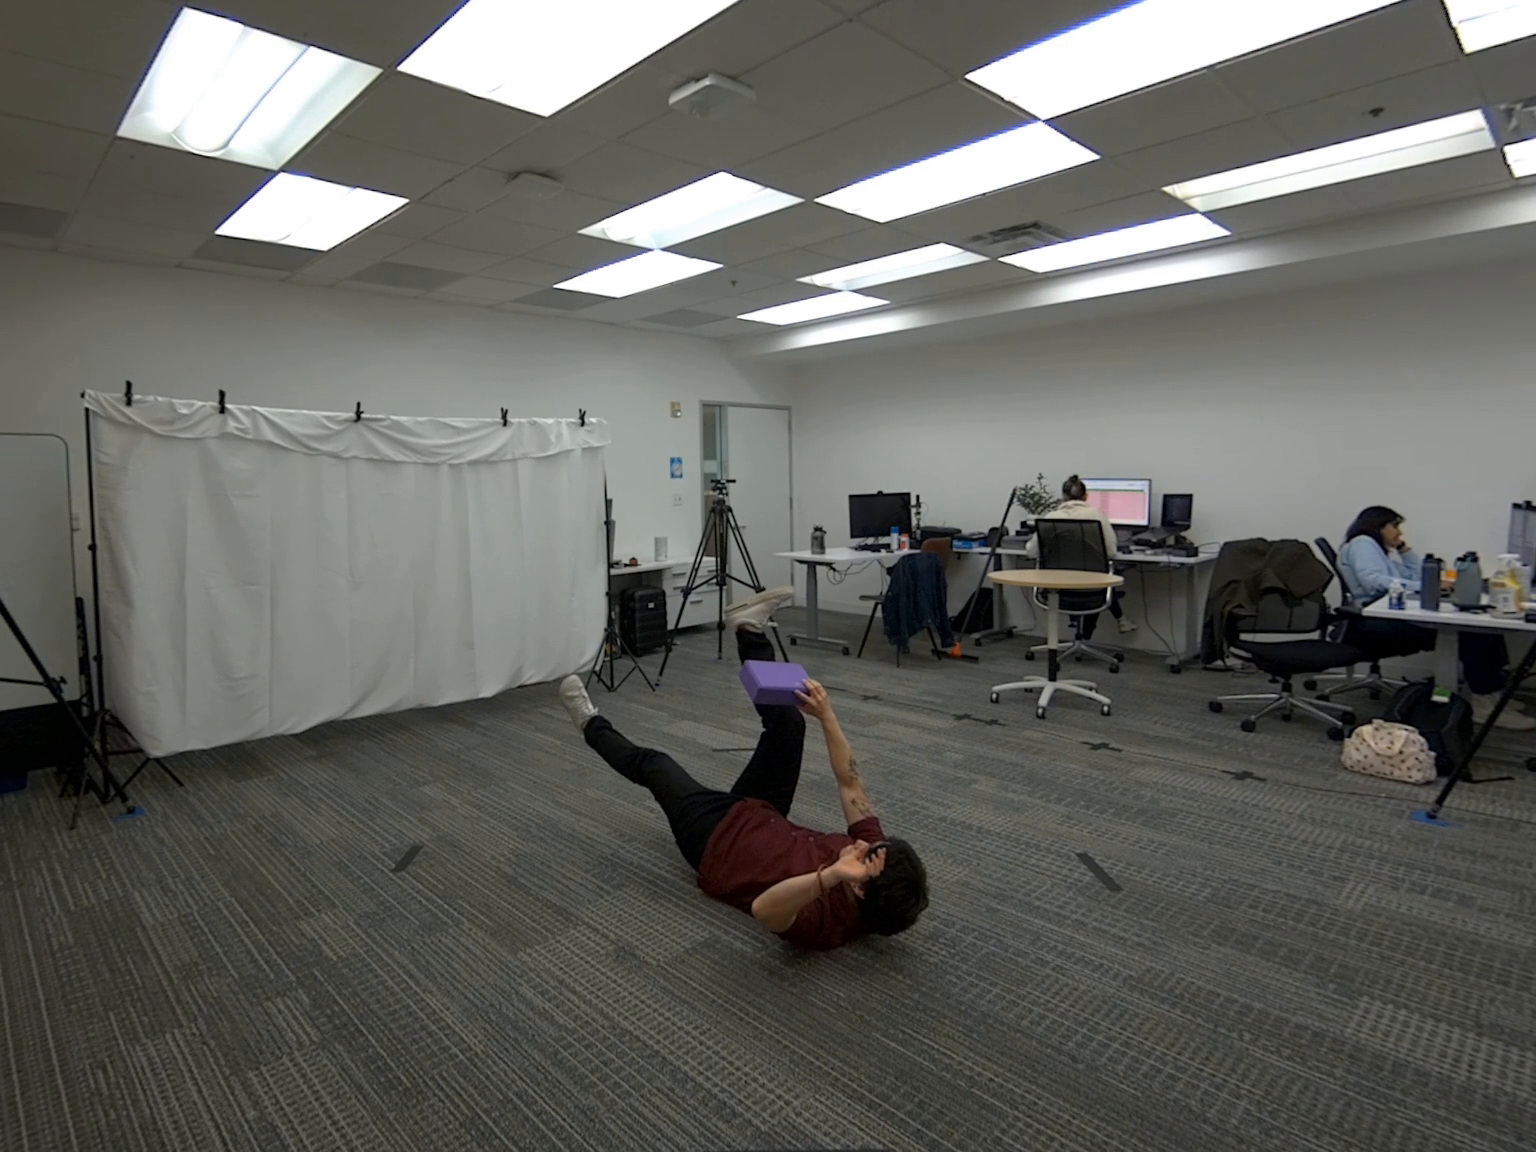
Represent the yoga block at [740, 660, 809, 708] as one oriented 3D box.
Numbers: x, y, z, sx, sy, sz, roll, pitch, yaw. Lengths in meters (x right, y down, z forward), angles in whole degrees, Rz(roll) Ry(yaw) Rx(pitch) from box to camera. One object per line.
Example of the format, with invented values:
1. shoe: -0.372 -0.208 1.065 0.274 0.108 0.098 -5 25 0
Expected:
1. yoga block: 0.038 0.361 2.896 0.223 0.075 0.155 7 29 -30
